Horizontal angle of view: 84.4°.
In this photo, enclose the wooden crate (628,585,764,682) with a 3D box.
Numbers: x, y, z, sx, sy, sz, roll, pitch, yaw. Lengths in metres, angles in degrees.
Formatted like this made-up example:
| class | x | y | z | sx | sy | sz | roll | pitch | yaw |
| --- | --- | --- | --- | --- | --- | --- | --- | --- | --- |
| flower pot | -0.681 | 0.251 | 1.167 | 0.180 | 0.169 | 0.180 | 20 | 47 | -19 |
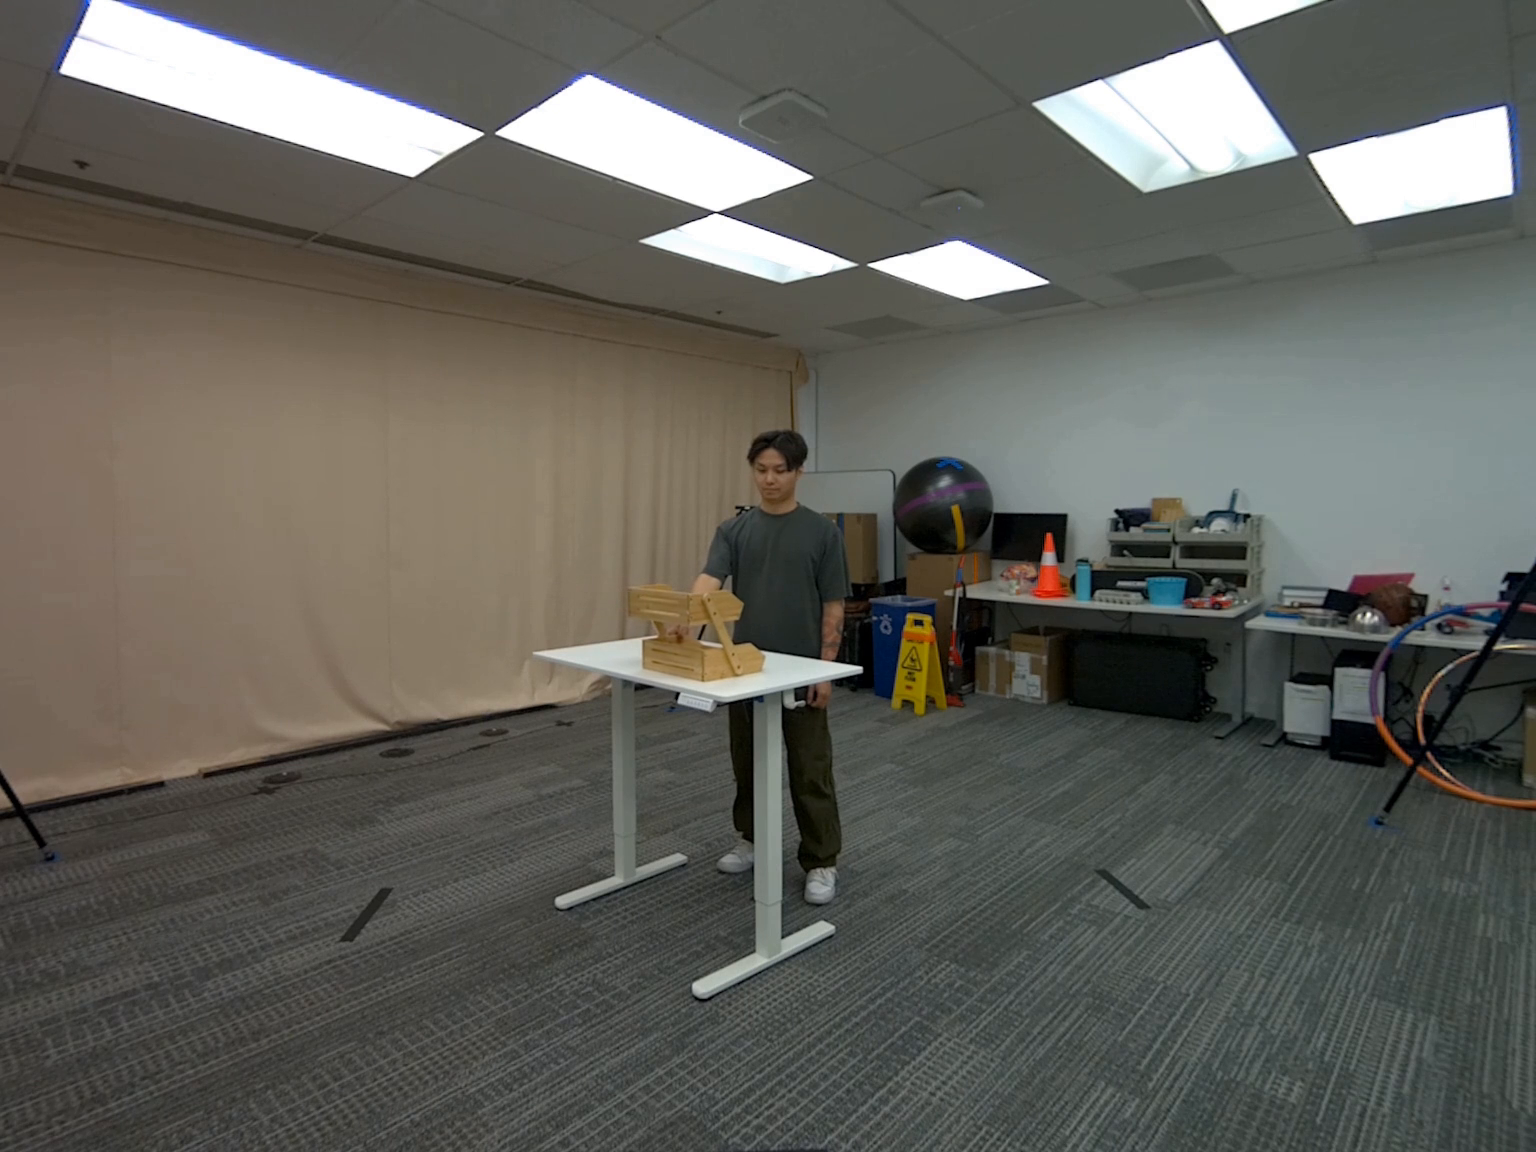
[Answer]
| class | x | y | z | sx | sy | sz | roll | pitch | yaw |
| --- | --- | --- | --- | --- | --- | --- | --- | --- | --- |
| wooden crate | -0.219 | 0.161 | 2.599 | 0.293 | 0.273 | 0.335 | -4 | 5 | -43 |
